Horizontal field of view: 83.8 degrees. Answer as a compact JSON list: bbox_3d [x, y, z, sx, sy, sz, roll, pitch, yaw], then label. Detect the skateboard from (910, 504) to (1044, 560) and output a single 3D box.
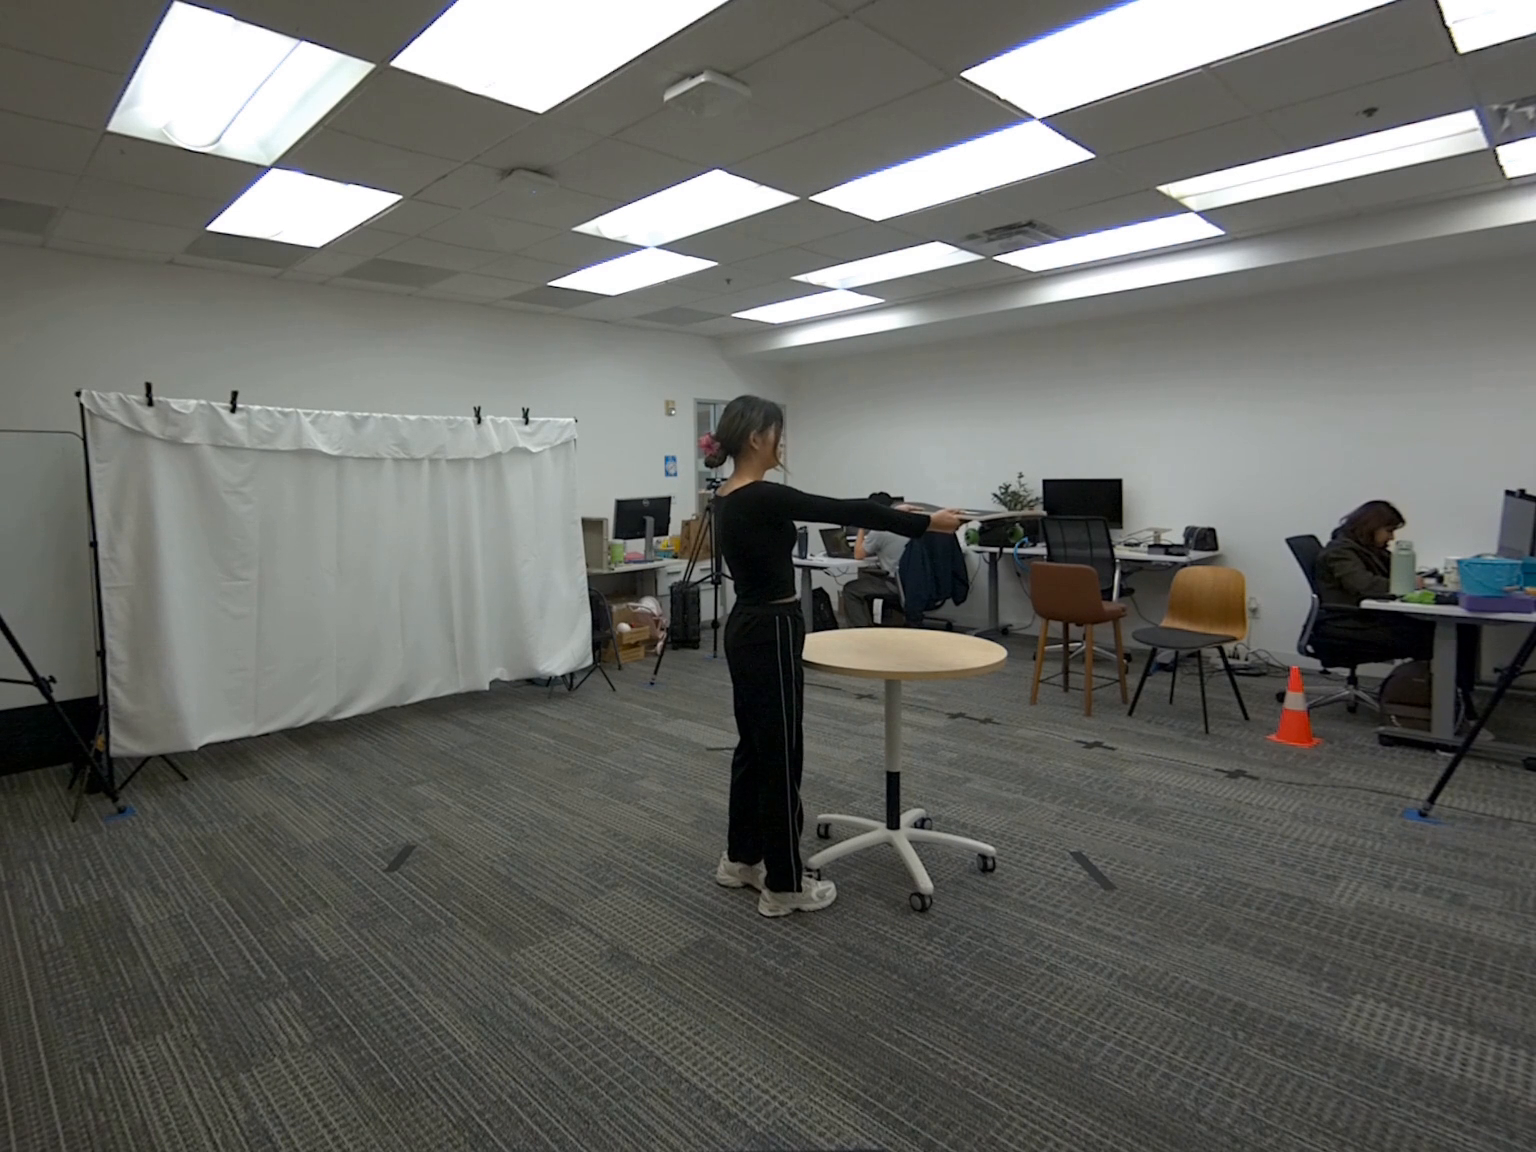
[{"bbox_3d":[0.611,-0.178,2.826,0.190,0.109,0.804,-5,9,-21],"label":"skateboard"}]
